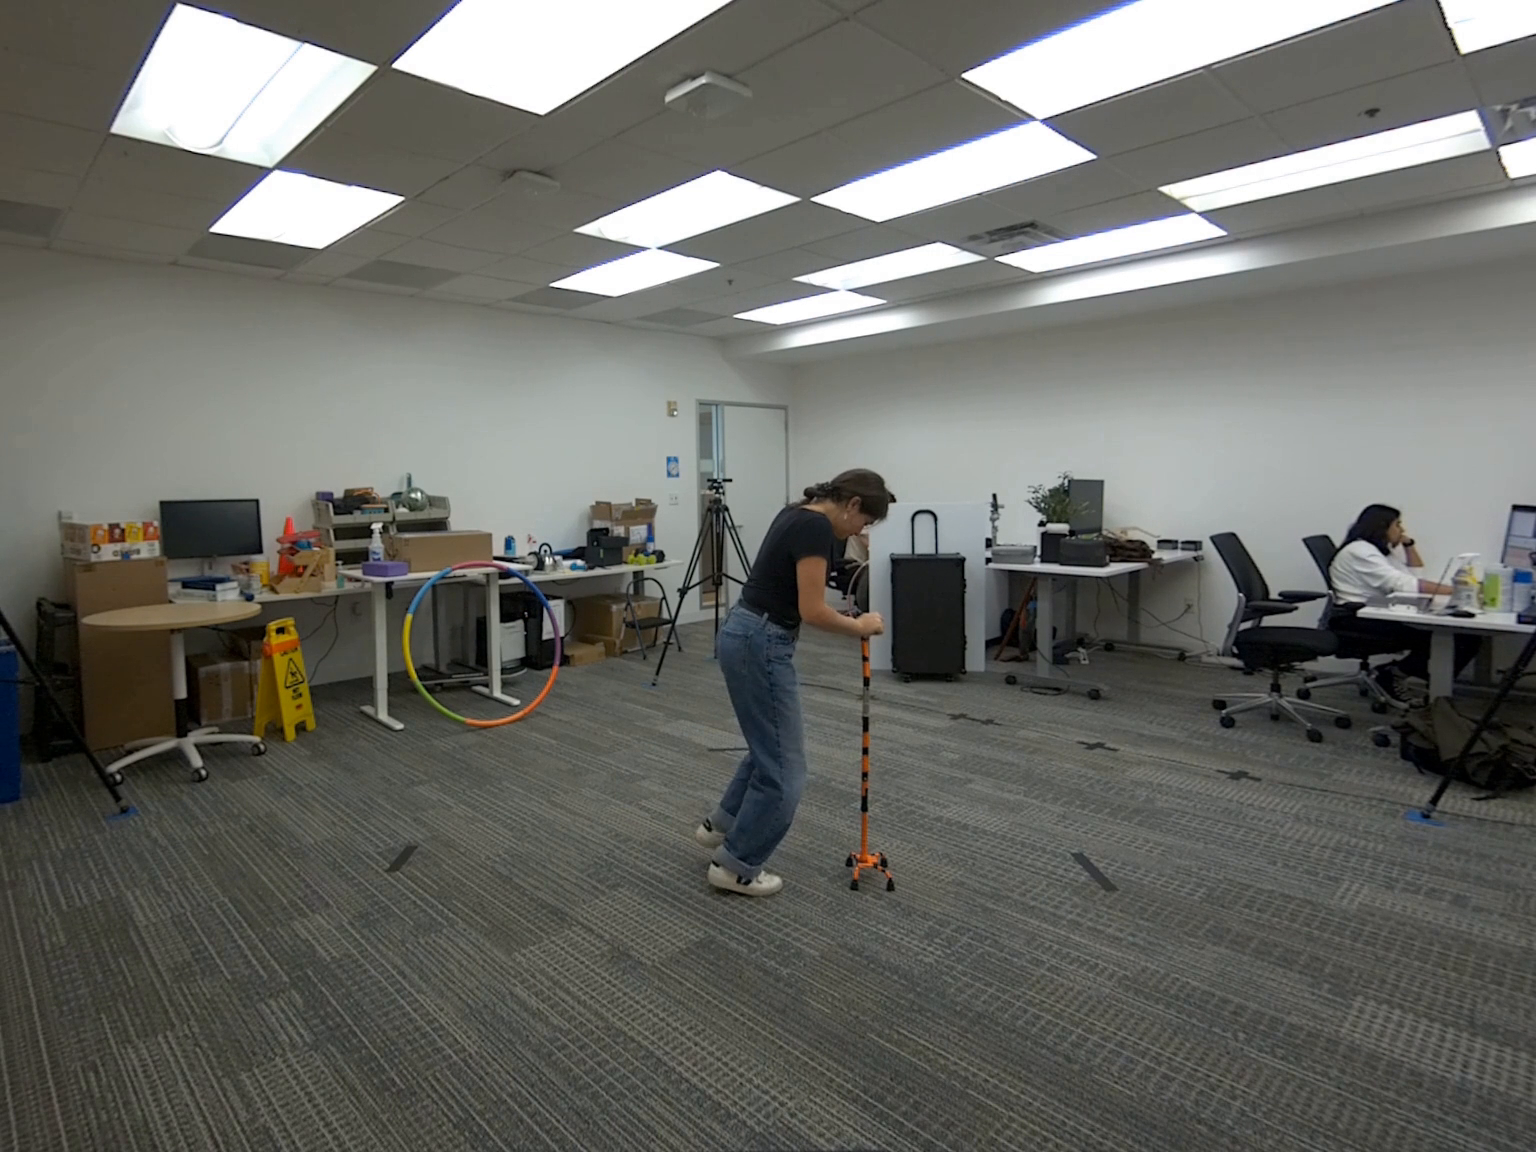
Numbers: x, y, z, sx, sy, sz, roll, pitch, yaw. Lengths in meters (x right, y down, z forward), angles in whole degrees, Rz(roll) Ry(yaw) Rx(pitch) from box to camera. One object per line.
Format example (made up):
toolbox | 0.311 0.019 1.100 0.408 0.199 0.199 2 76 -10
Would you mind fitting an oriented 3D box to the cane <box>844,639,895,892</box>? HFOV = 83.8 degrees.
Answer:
cane | 0.351 0.595 2.954 0.152 0.905 0.207 0 3 1
